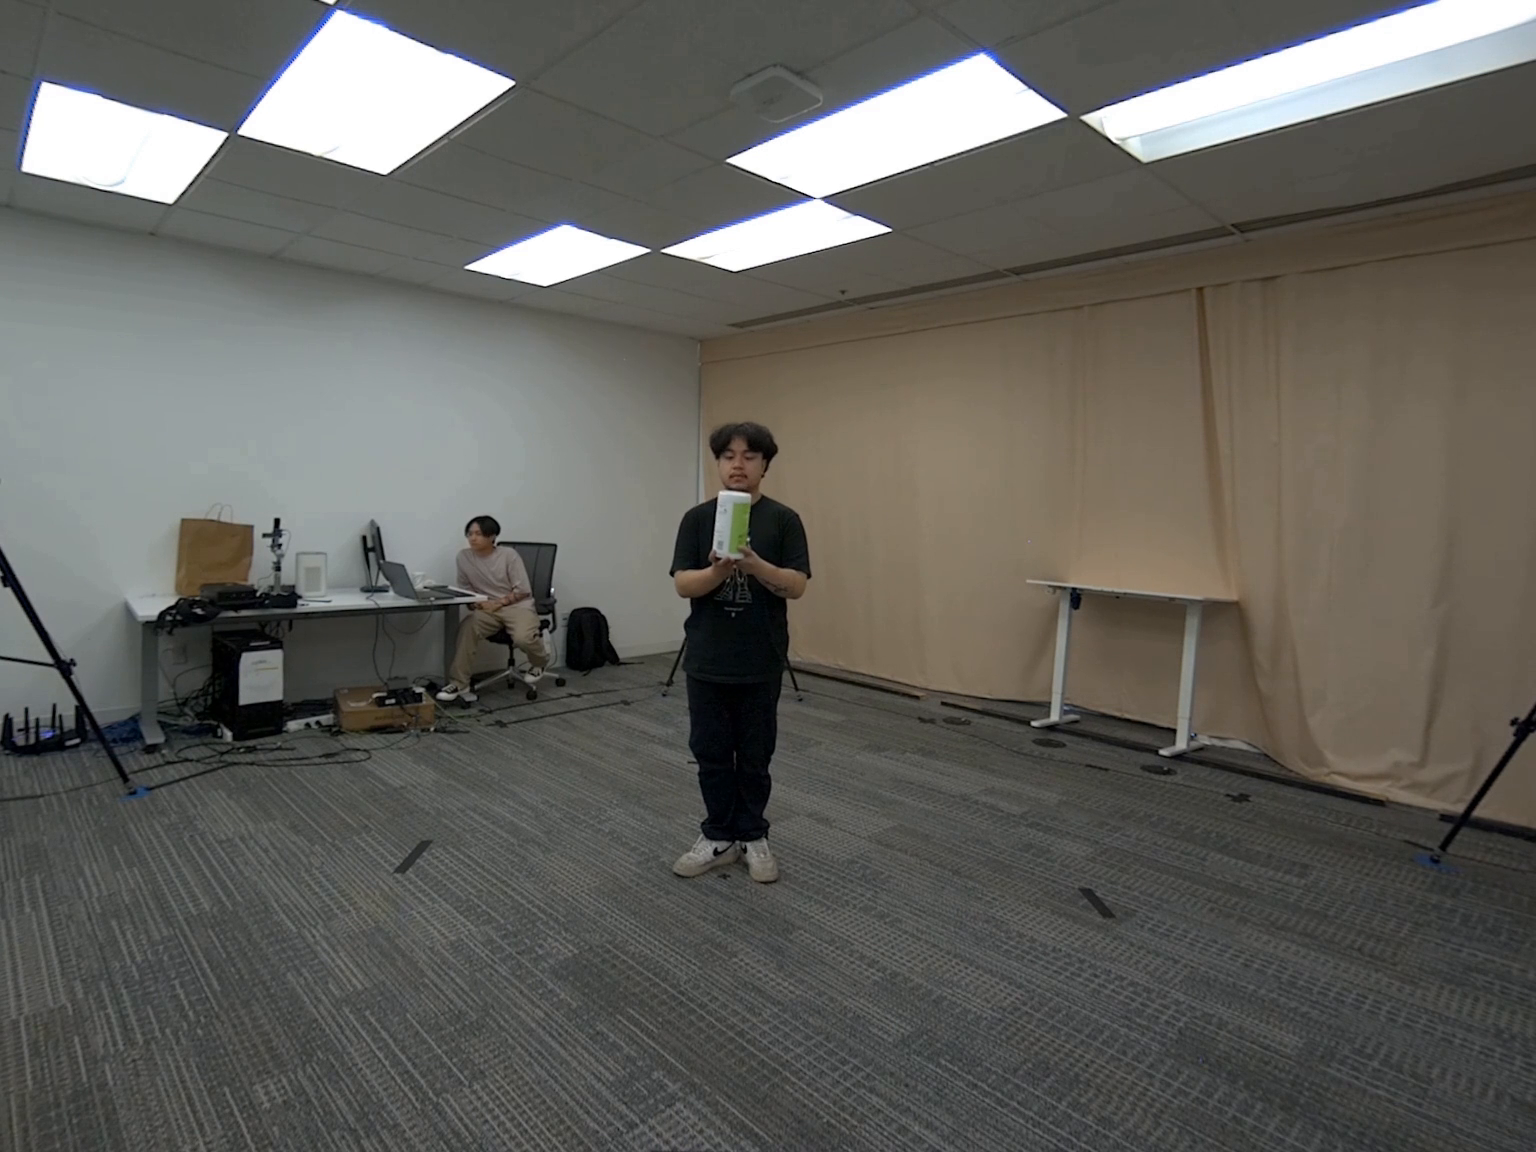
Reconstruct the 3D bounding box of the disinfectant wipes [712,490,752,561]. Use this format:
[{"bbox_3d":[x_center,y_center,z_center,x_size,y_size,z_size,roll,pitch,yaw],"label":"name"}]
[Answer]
[{"bbox_3d":[-0.133,-0.166,2.757,0.117,0.216,0.118,6,8,-2],"label":"disinfectant wipes"}]
